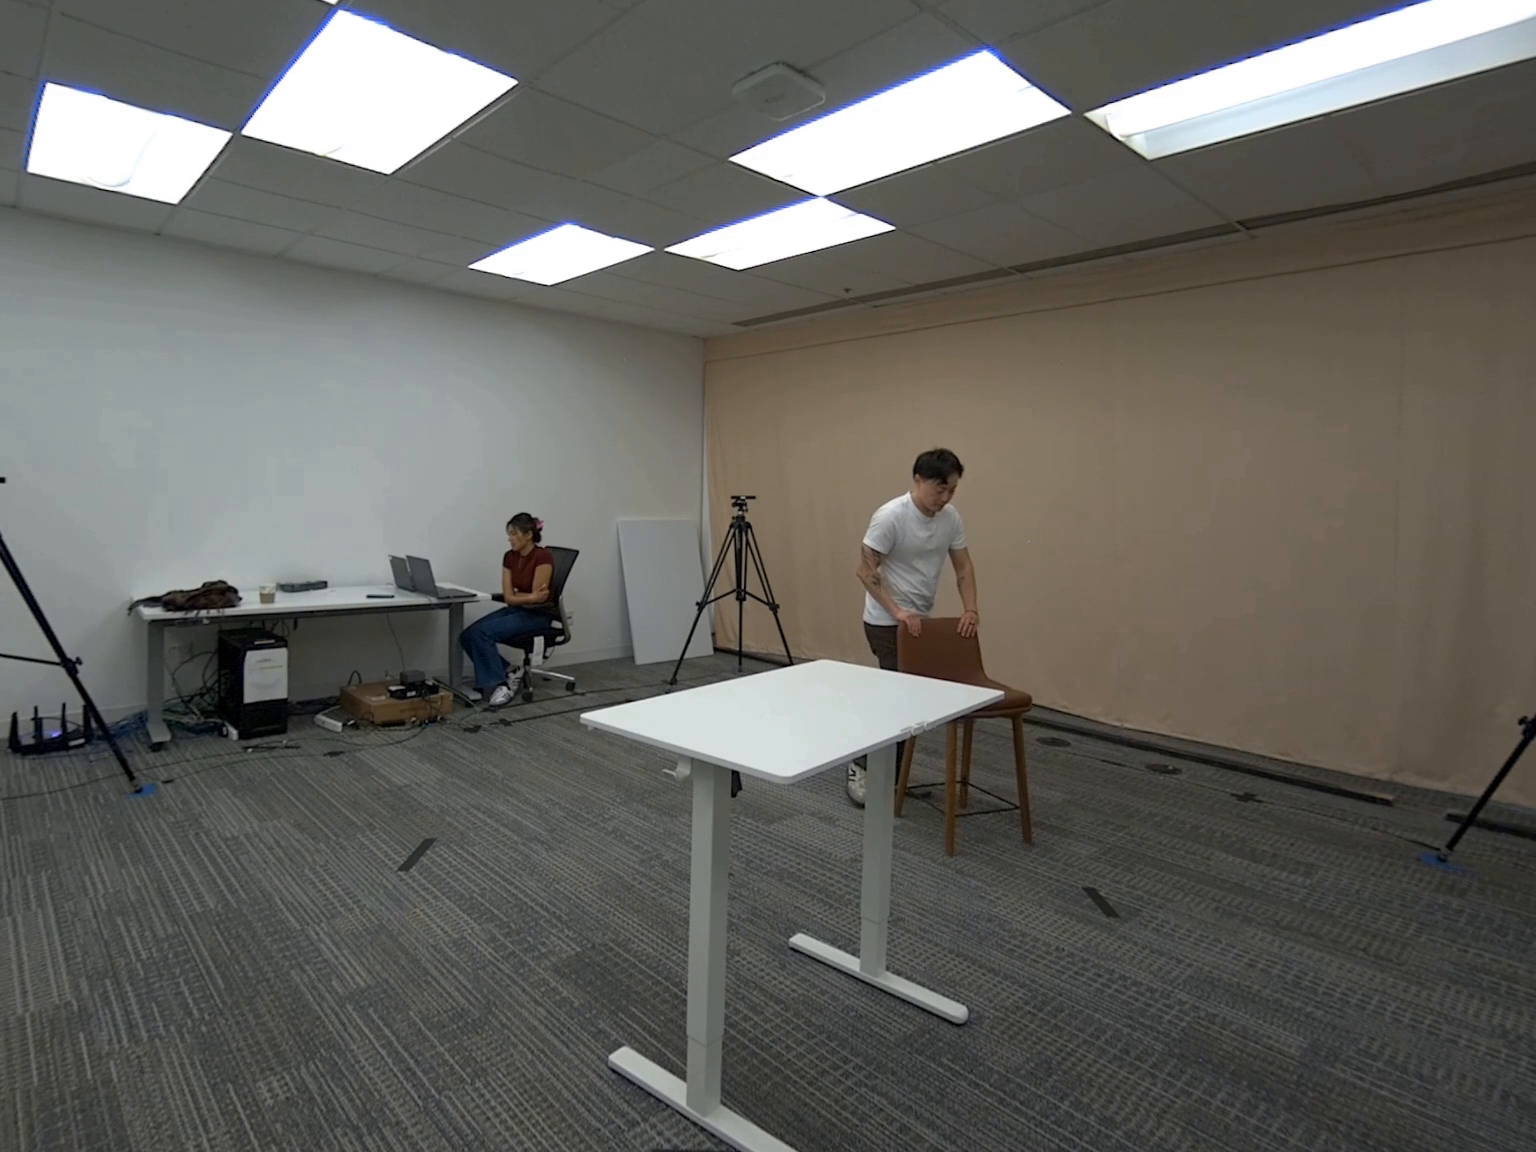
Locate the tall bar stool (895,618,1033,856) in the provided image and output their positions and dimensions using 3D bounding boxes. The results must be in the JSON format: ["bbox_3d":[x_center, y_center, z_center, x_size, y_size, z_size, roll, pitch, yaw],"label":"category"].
[{"bbox_3d":[0.808,0.647,3.574,0.449,0.889,0.475,0,2,-21],"label":"tall bar stool"}]
